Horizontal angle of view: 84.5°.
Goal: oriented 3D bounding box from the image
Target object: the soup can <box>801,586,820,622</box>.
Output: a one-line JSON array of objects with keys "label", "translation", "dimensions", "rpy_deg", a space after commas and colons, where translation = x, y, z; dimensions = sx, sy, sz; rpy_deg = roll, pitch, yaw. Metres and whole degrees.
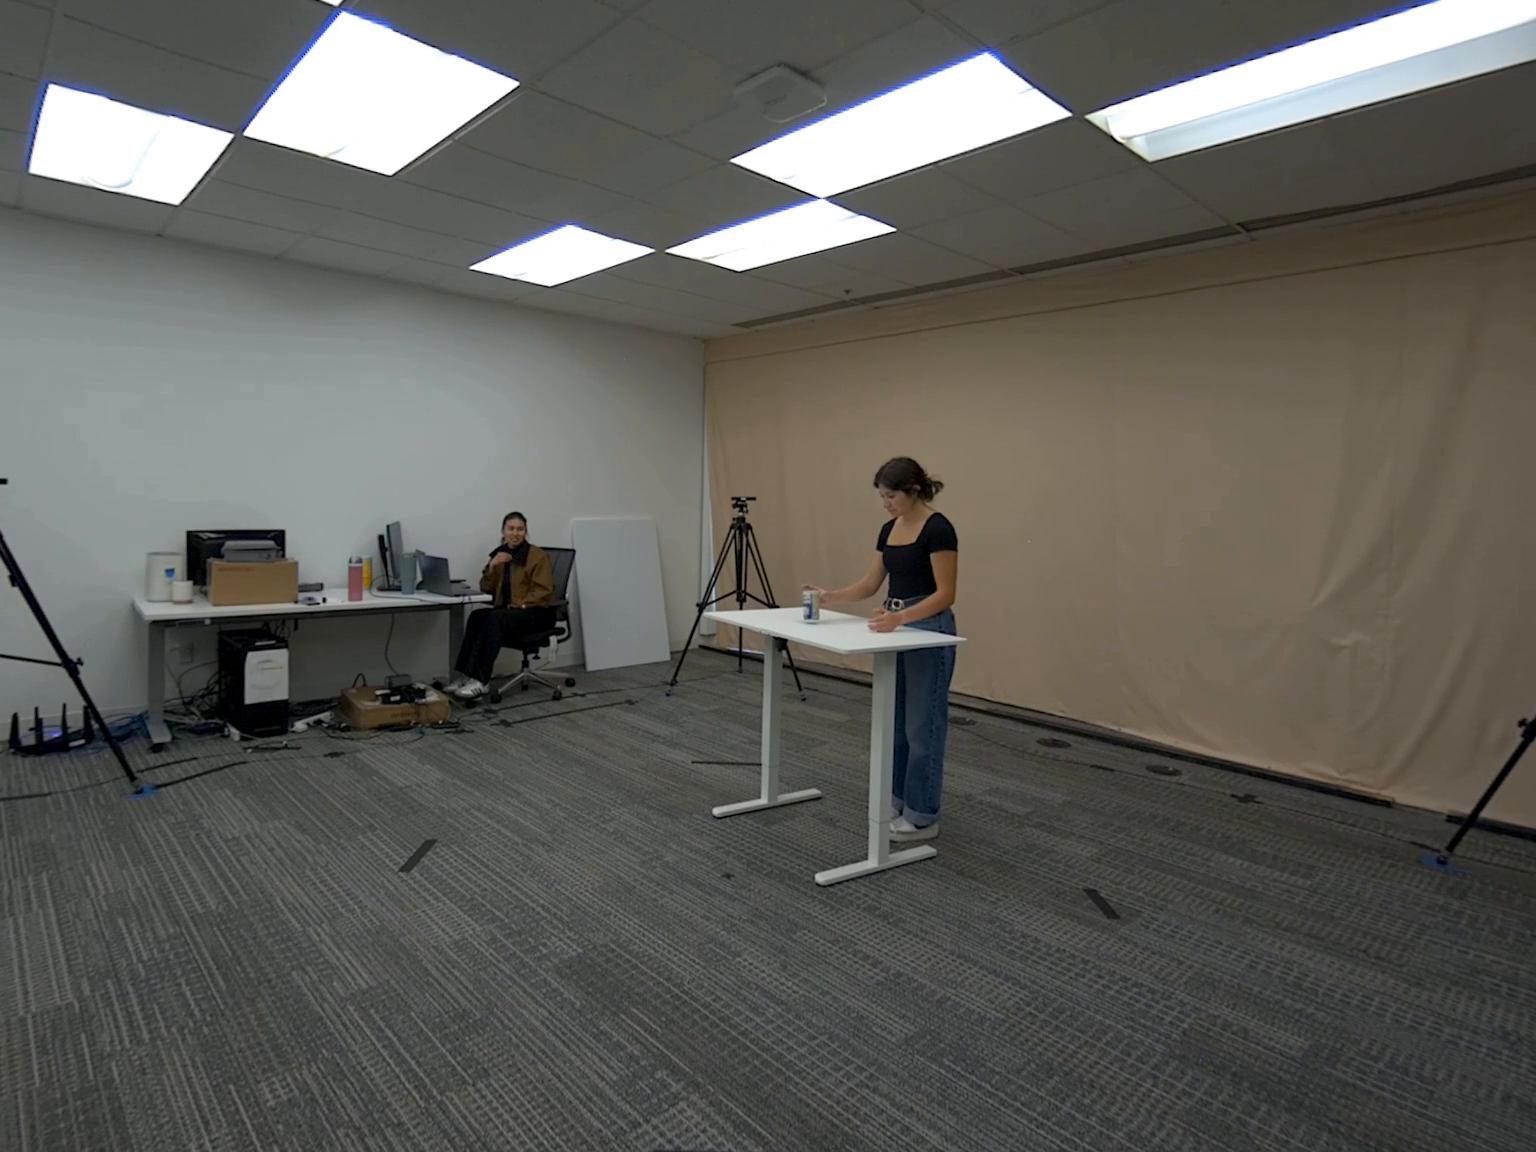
[{"label": "soup can", "translation": [0.174, 0.128, 3.502], "dimensions": [0.067, 0.121, 0.067], "rpy_deg": [3, 3, -2]}]
